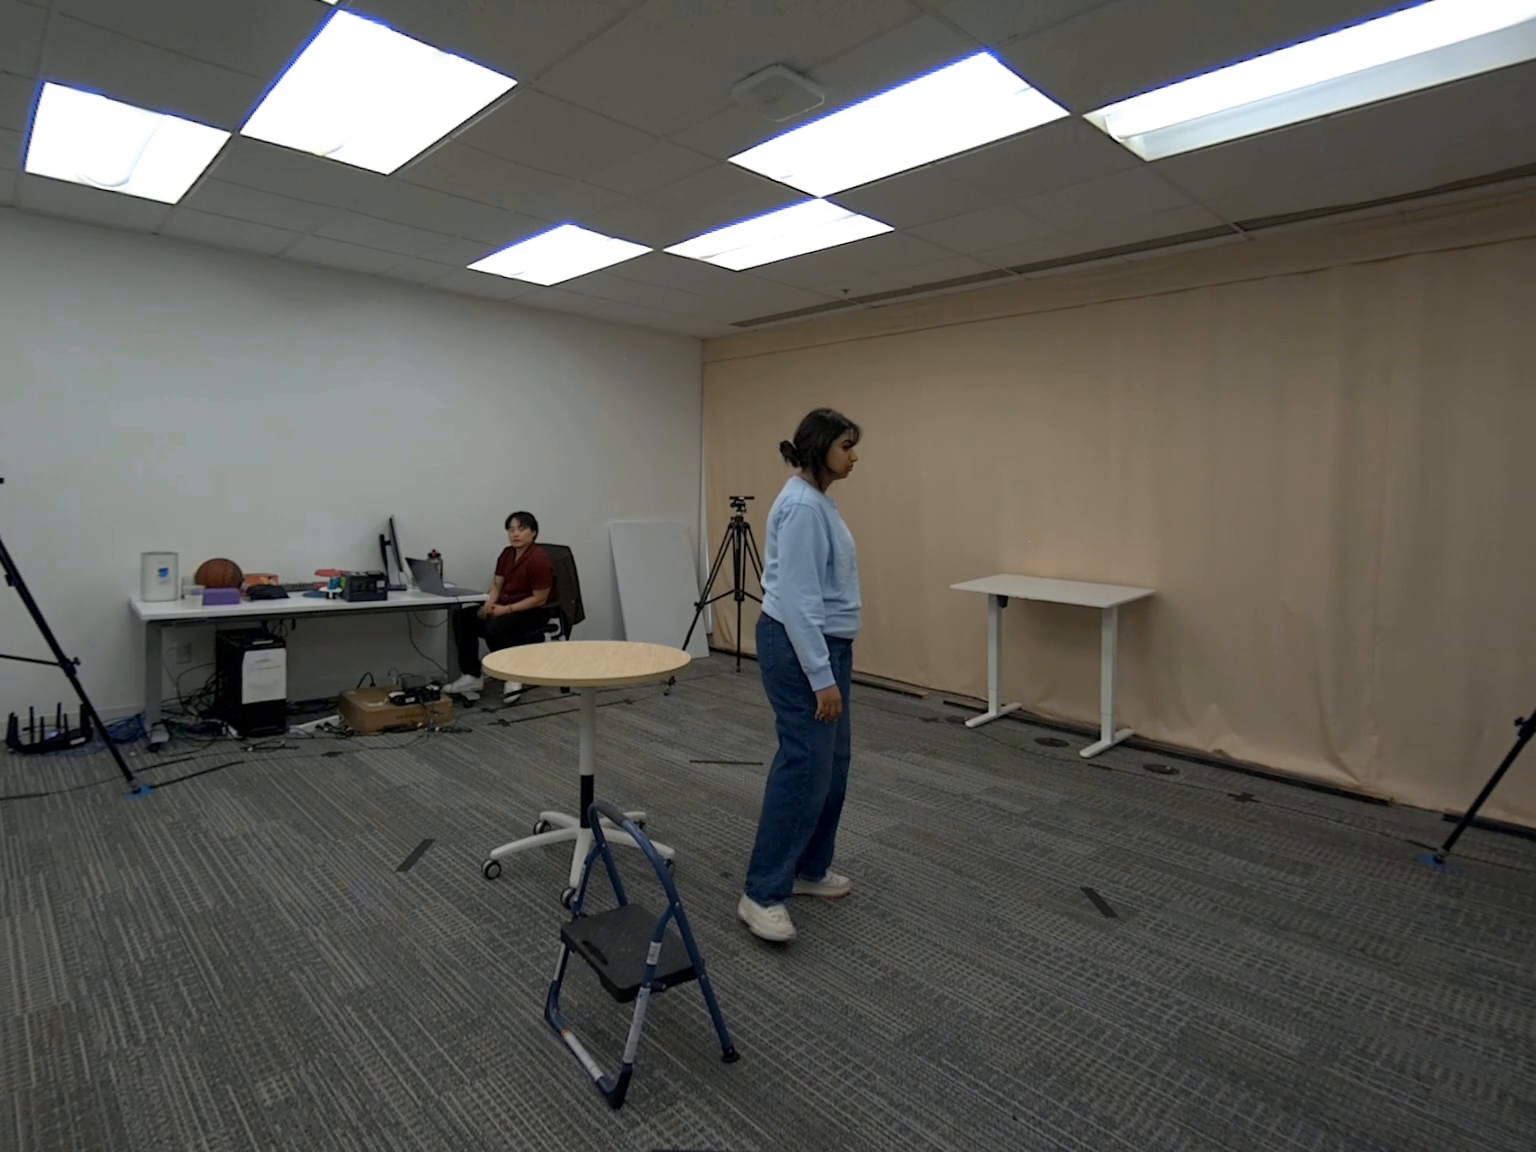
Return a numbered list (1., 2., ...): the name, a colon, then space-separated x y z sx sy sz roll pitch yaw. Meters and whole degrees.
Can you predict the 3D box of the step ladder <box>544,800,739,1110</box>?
1. step ladder: -0.339 0.889 2.141 0.341 0.604 0.441 -2 6 -37
